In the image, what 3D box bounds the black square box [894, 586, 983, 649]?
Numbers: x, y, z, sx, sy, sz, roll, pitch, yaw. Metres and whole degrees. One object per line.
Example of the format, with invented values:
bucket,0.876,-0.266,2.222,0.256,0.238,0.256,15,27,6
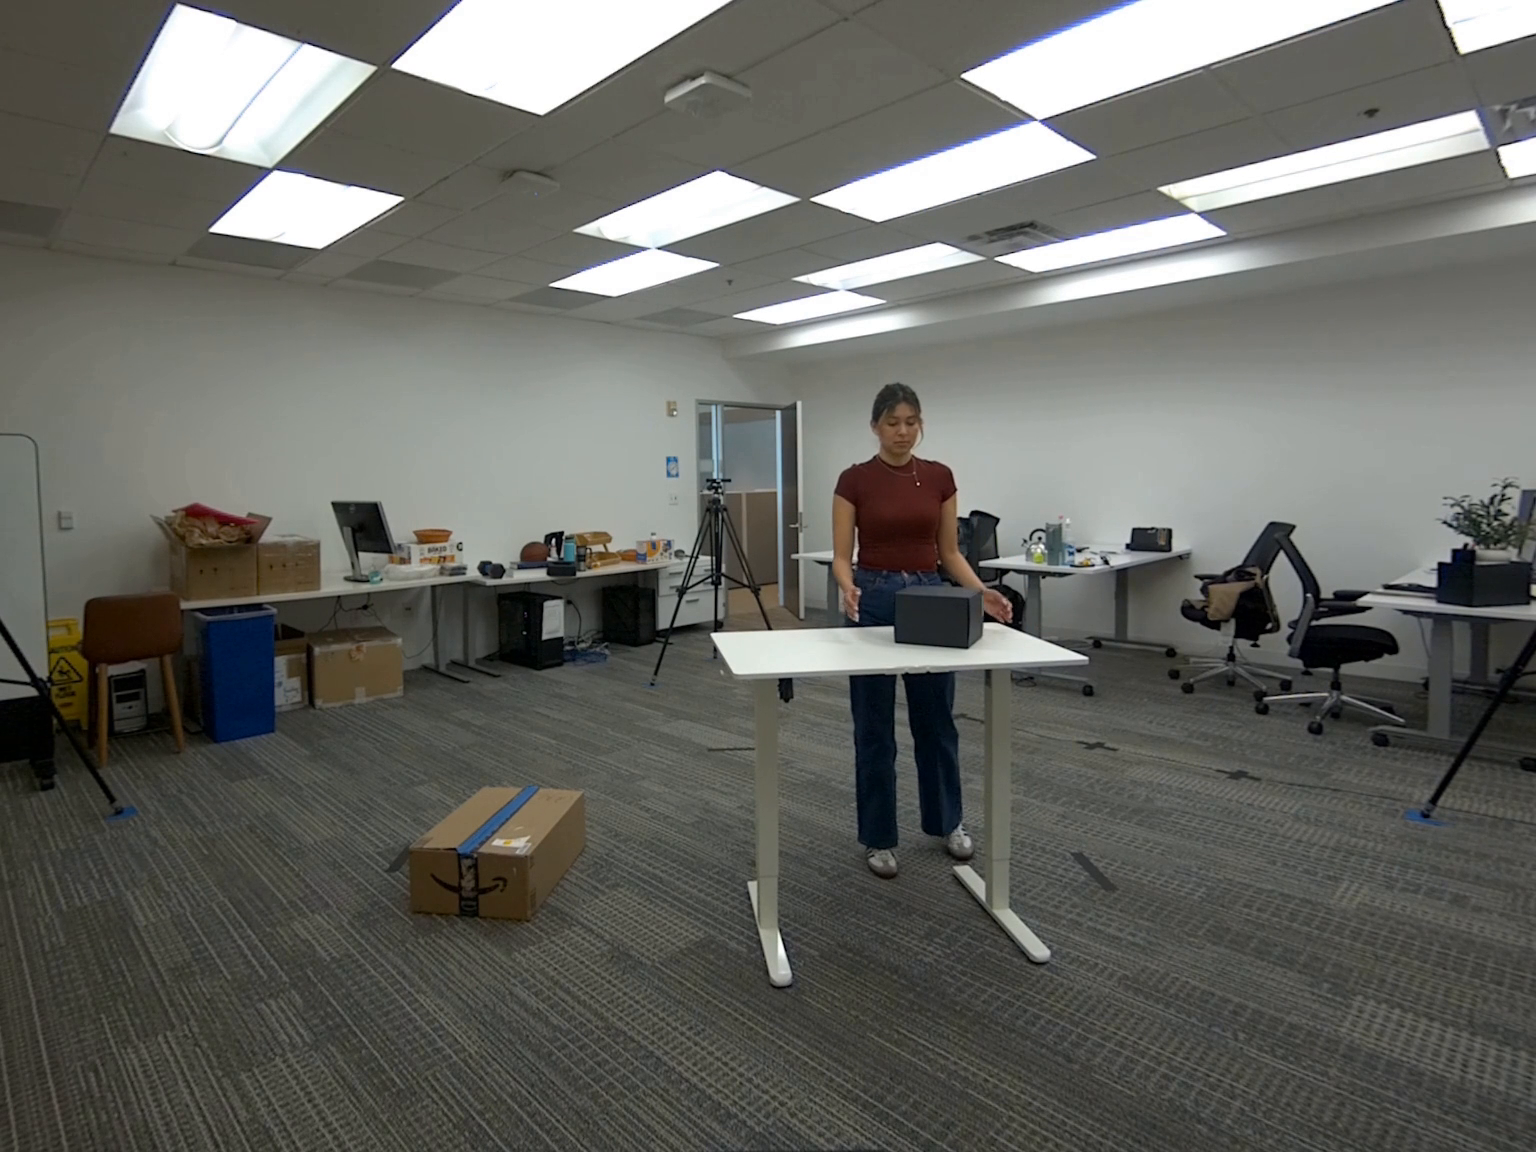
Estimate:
black square box,0.541,0.124,2.670,0.233,0.155,0.213,2,6,27
